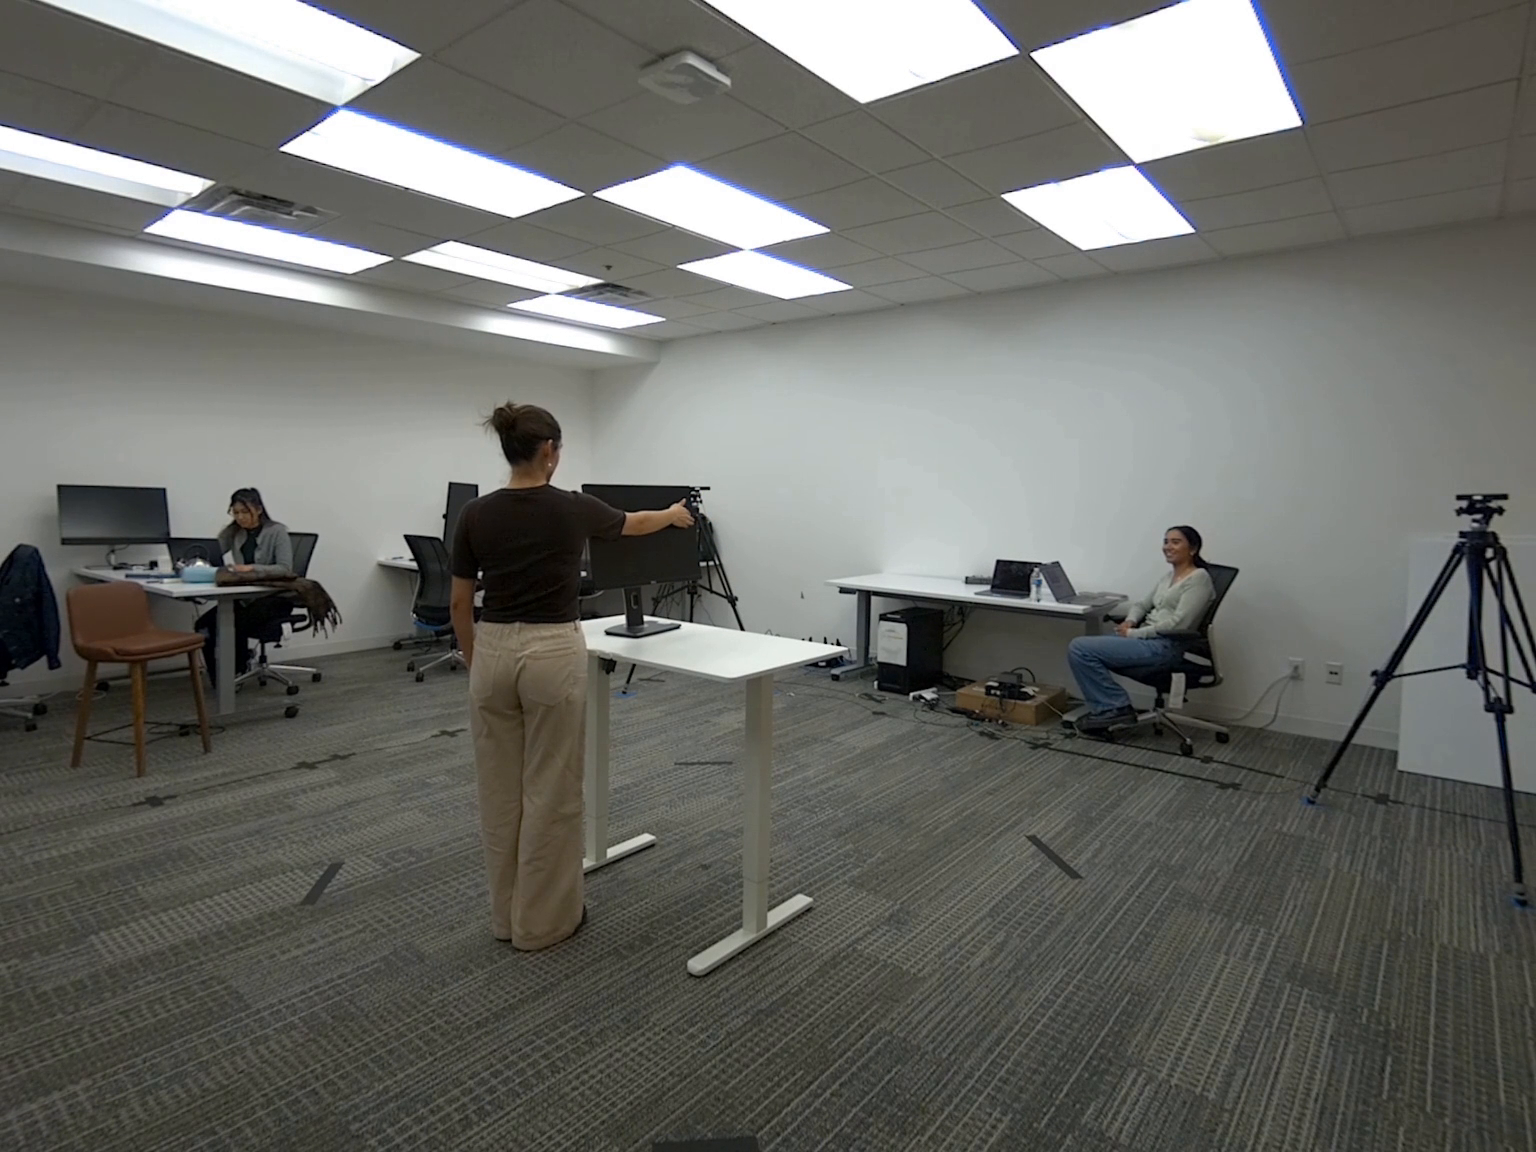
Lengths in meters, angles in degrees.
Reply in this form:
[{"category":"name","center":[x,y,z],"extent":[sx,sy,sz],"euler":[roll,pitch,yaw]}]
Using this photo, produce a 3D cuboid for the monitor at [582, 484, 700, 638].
[{"category":"monitor","center":[-0.454,-0.059,2.981],"extent":[0.193,0.521,0.524],"euler":[4,5,36]}]
